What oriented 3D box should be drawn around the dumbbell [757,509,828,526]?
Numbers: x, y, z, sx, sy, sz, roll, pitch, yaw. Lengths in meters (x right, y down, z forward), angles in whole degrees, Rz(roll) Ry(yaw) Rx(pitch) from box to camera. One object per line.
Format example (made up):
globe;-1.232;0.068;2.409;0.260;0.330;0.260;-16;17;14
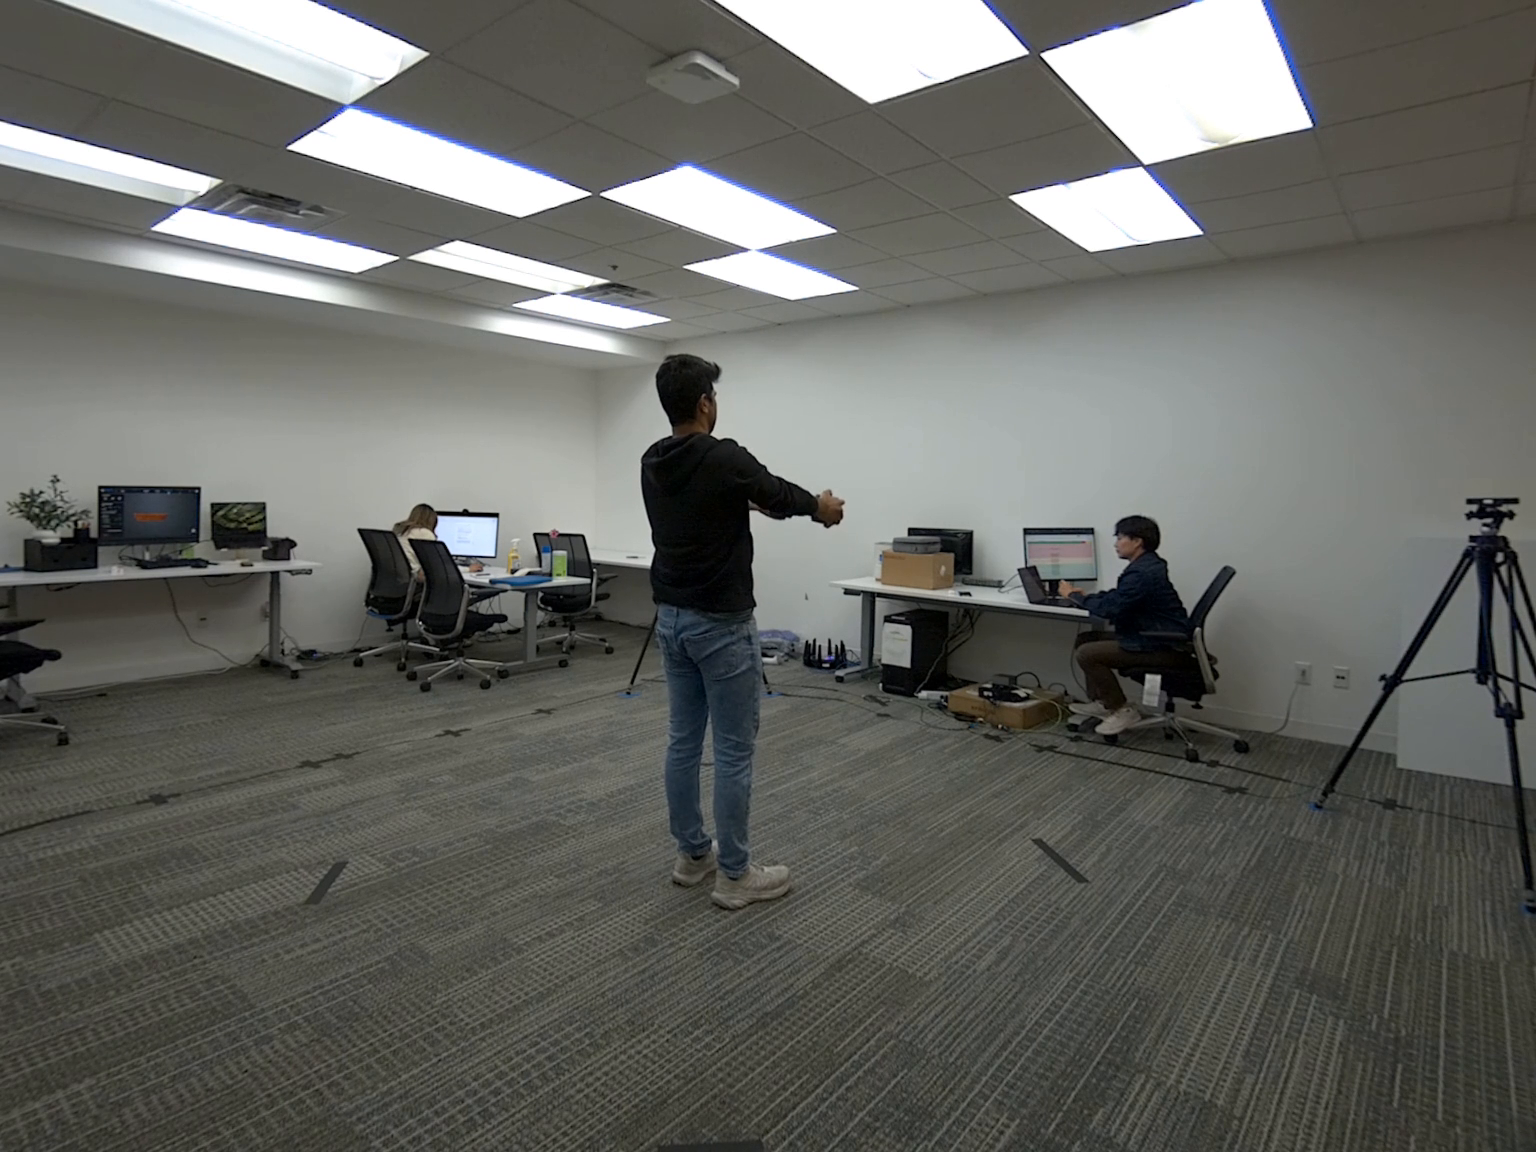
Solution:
dumbbell;0.121;-0.288;3.293;0.304;0.123;0.104;9;-33;41
